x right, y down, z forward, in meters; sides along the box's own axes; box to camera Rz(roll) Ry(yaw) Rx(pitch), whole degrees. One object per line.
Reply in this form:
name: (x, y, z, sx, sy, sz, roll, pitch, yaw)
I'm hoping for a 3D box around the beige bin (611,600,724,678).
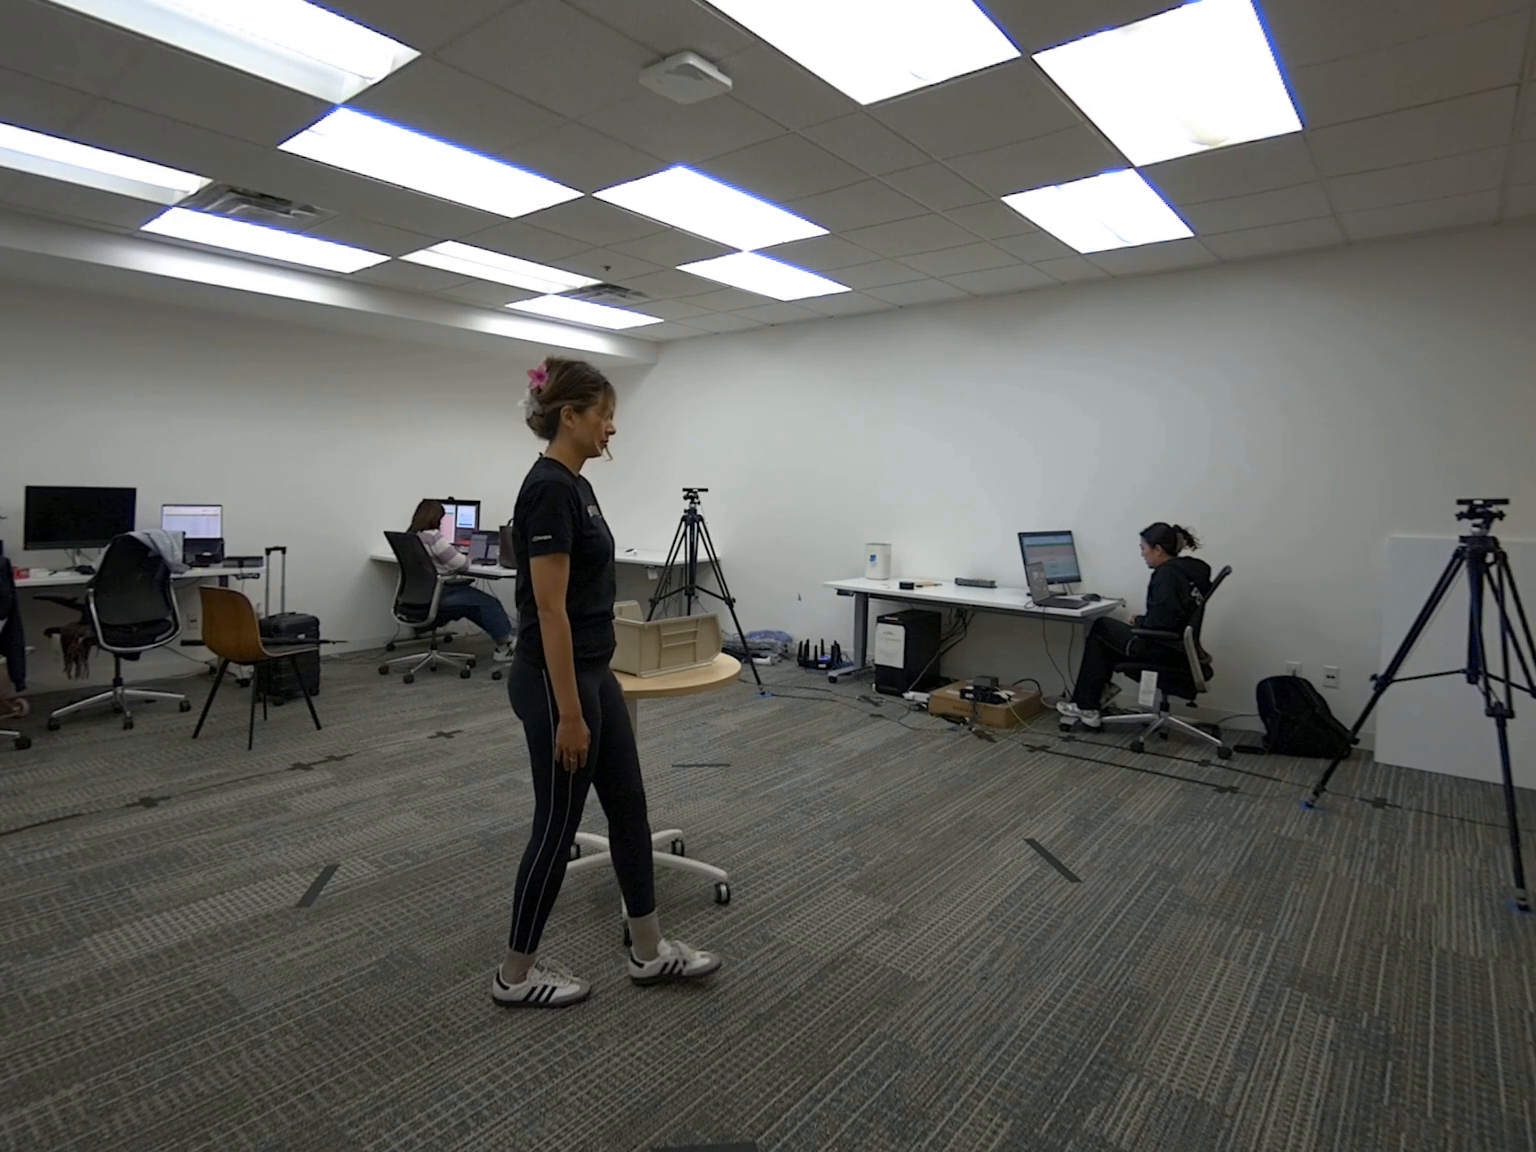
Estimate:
beige bin: (-0.443, 0.207, 2.953, 0.437, 0.188, 0.366, 6, 9, 42)
